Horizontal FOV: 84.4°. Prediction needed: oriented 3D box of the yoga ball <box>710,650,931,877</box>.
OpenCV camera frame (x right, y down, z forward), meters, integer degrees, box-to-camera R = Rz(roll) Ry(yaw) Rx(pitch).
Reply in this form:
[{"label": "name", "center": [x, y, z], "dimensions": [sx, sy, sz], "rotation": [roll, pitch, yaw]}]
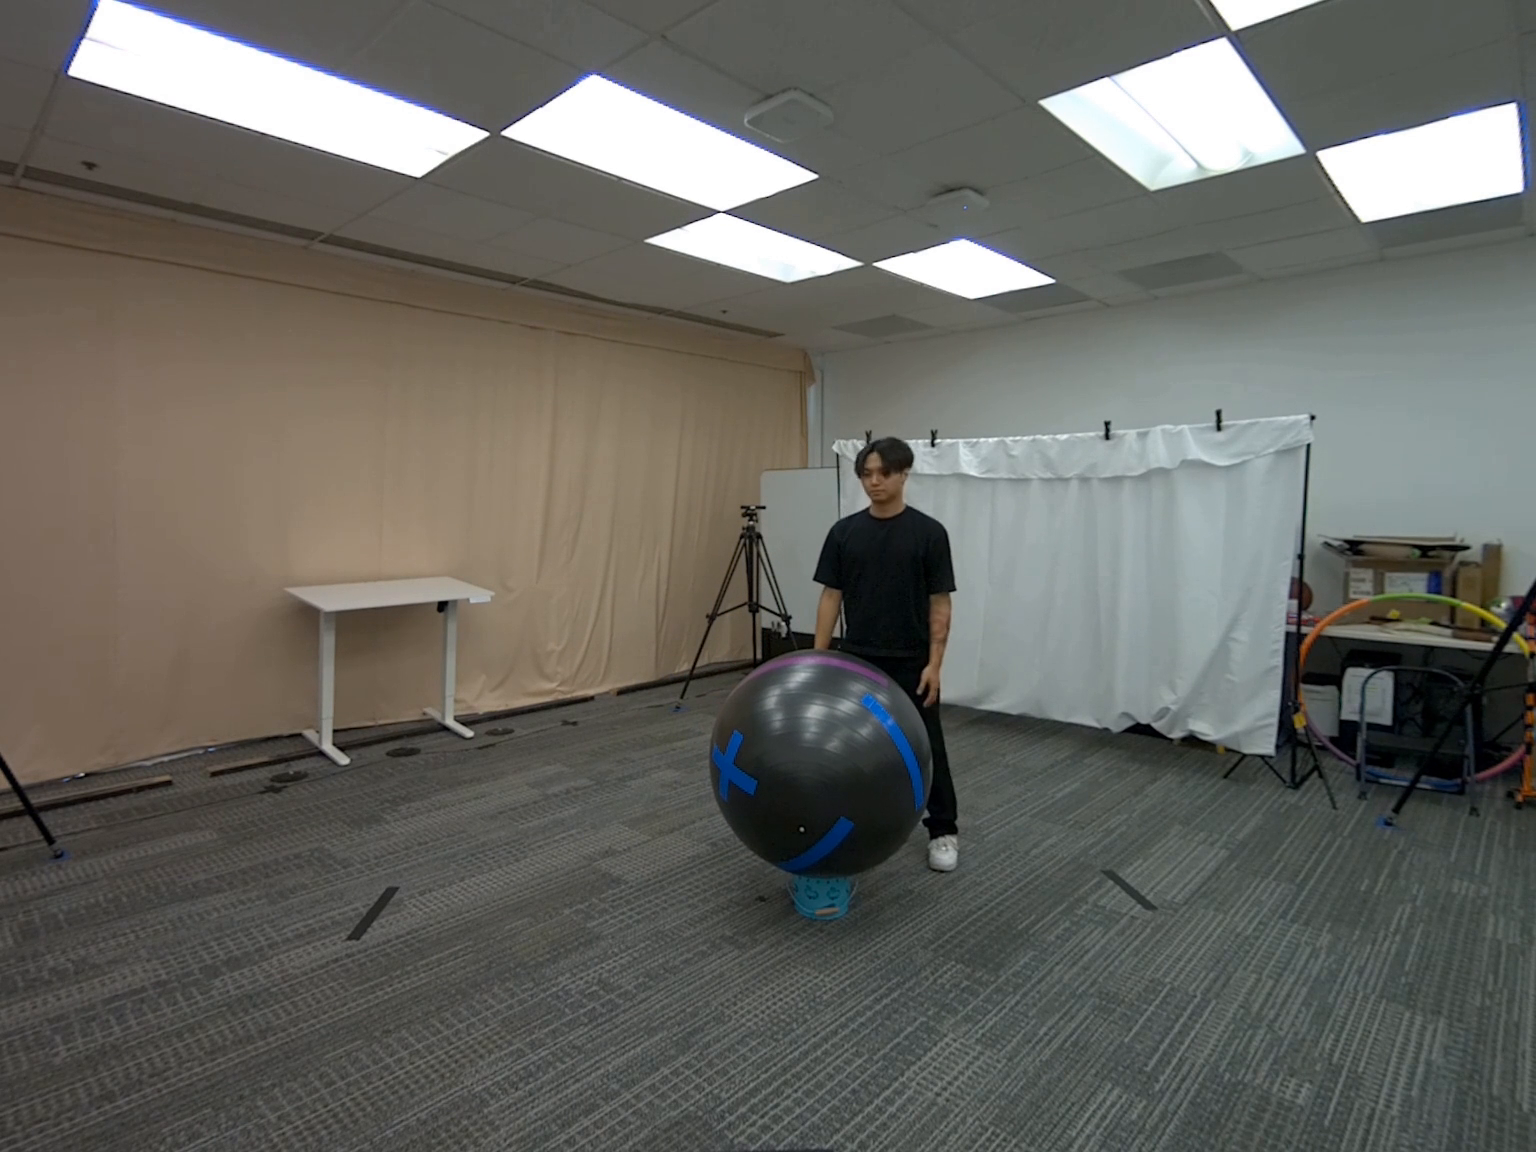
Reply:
[{"label": "yoga ball", "center": [0.179, 0.637, 2.900], "dimensions": [0.757, 0.756, 0.761], "rotation": [0, 4, -2]}]
